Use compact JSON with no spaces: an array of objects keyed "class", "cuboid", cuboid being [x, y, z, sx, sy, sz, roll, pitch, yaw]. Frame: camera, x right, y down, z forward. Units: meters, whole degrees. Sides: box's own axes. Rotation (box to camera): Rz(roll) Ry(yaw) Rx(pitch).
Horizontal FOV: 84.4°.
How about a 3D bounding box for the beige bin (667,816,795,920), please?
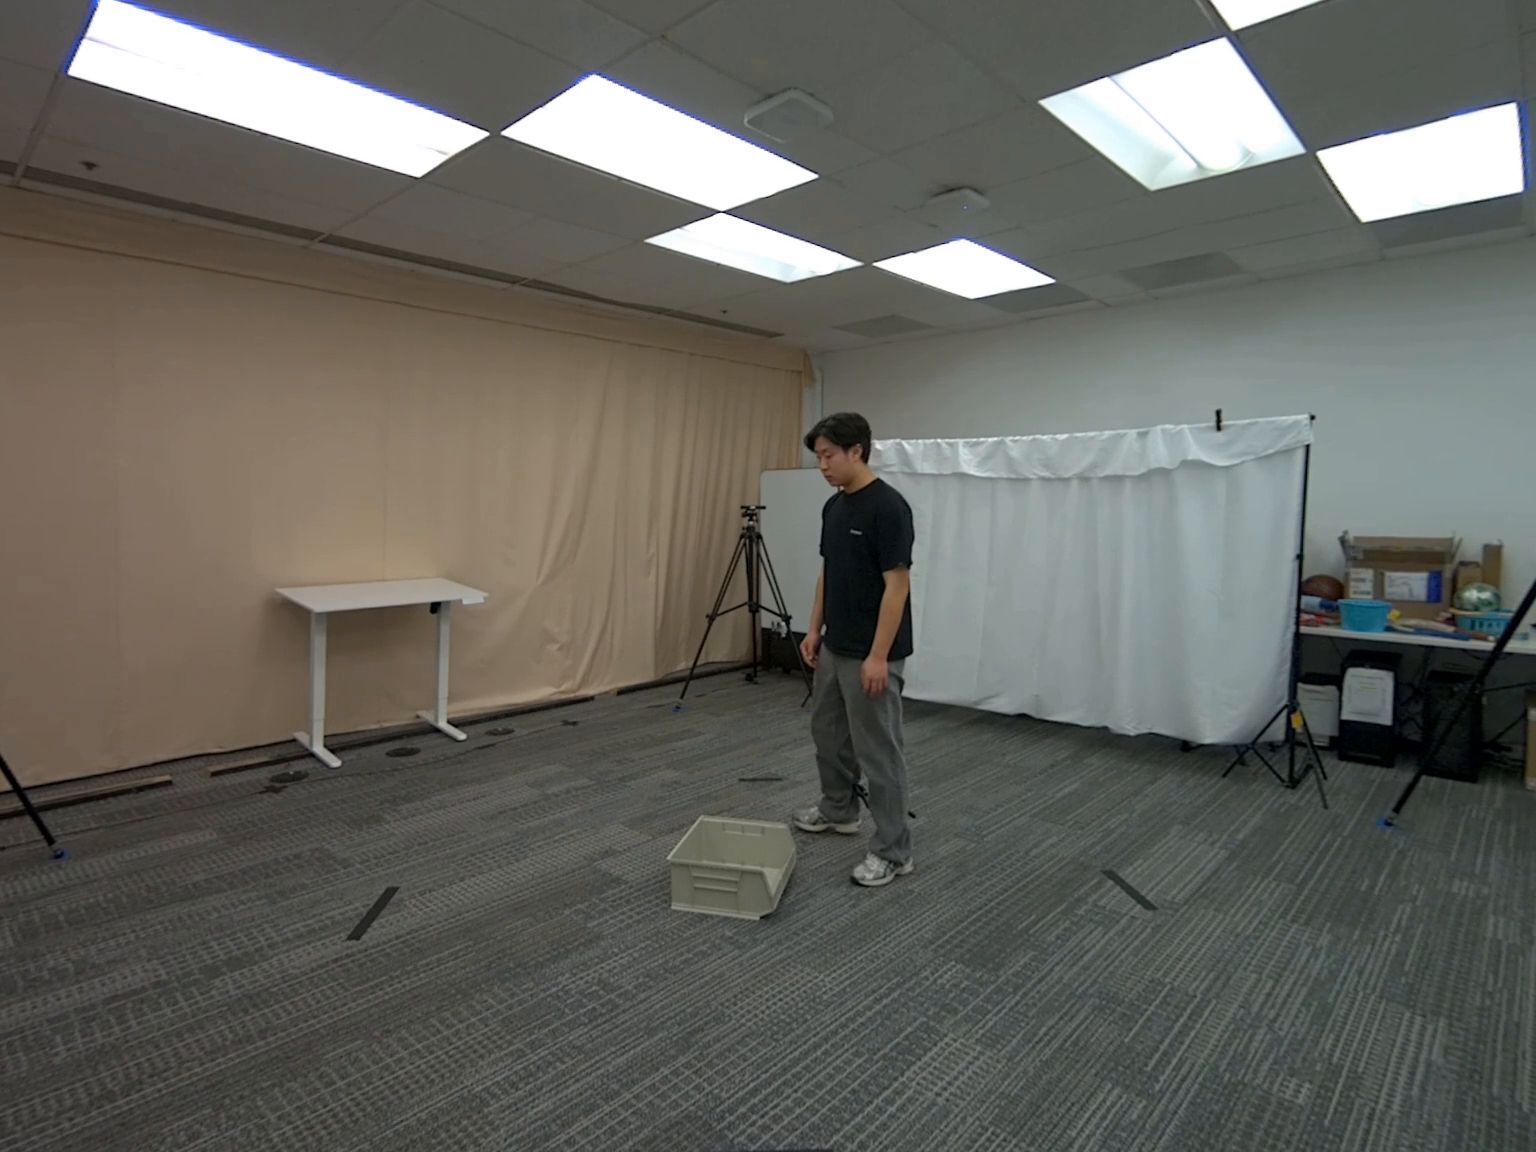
[{"class":"beige bin","cuboid":[-0.120,1.051,3.054,0.383,0.188,0.417,0,4,13]}]
